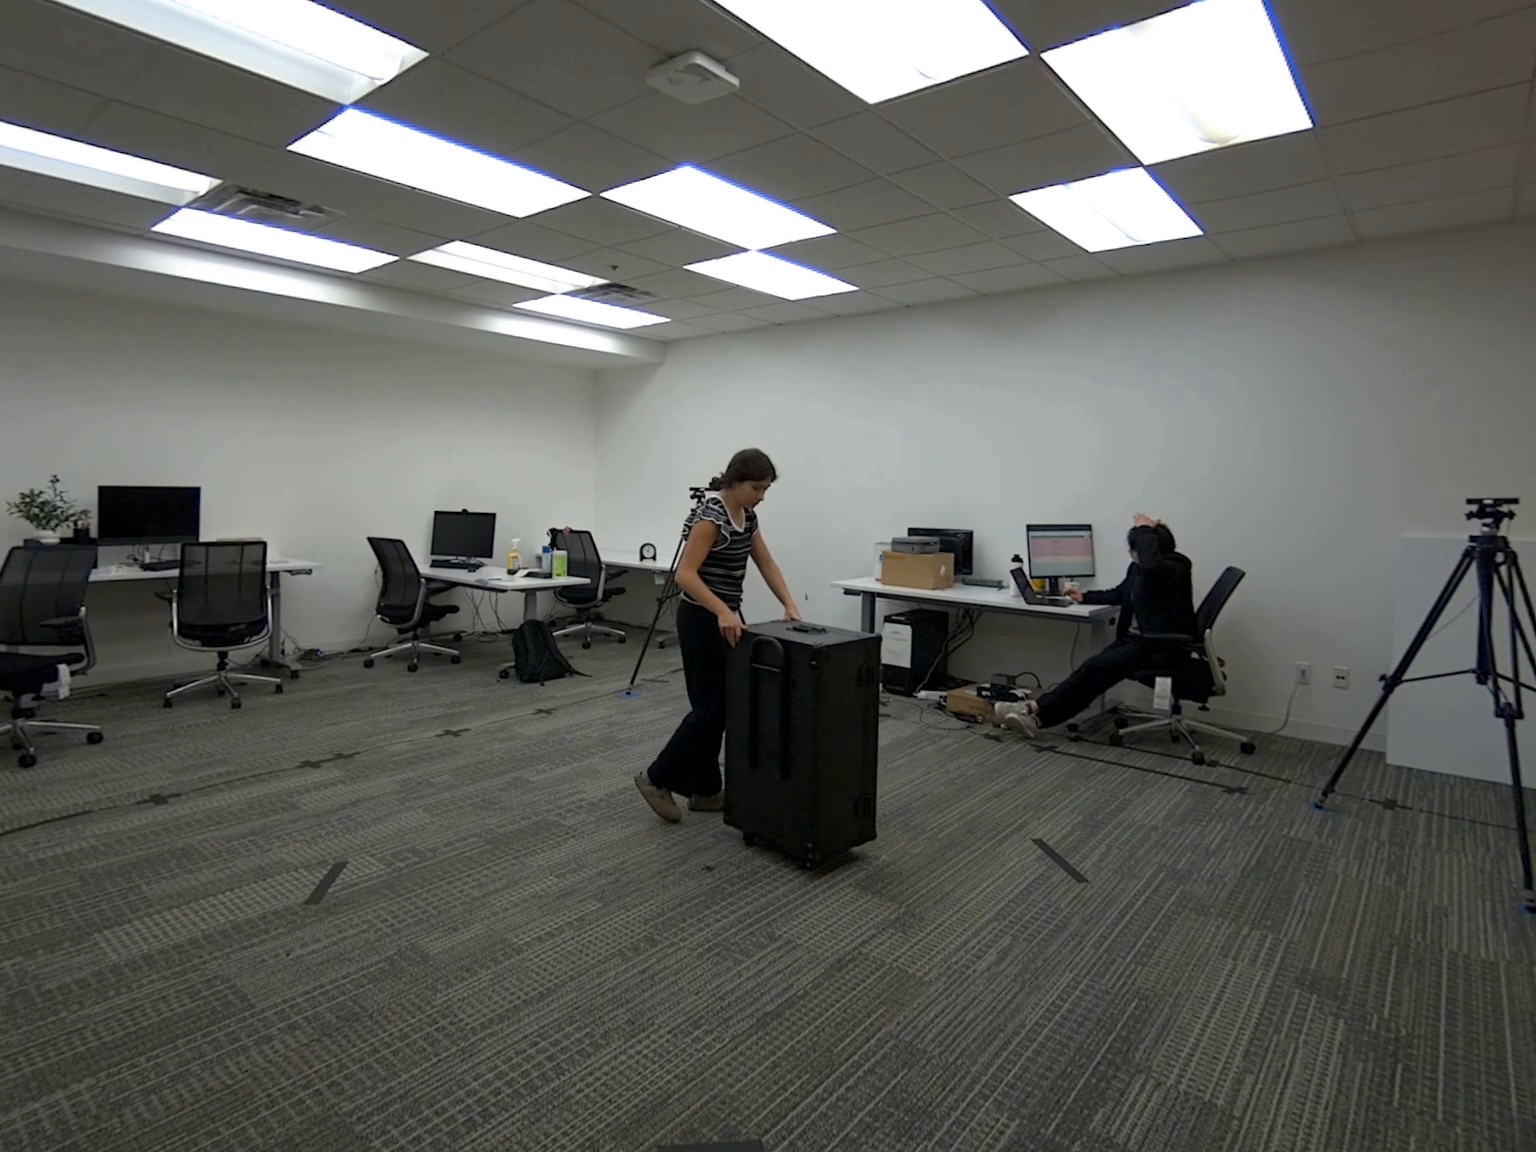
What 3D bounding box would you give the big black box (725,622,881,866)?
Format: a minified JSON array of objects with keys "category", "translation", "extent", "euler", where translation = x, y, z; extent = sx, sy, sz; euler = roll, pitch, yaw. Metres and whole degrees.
[{"category":"big black box","translation":[0.117,0.635,3.263],"extent":[0.384,0.858,0.539],"euler":[-3,6,-44]}]
